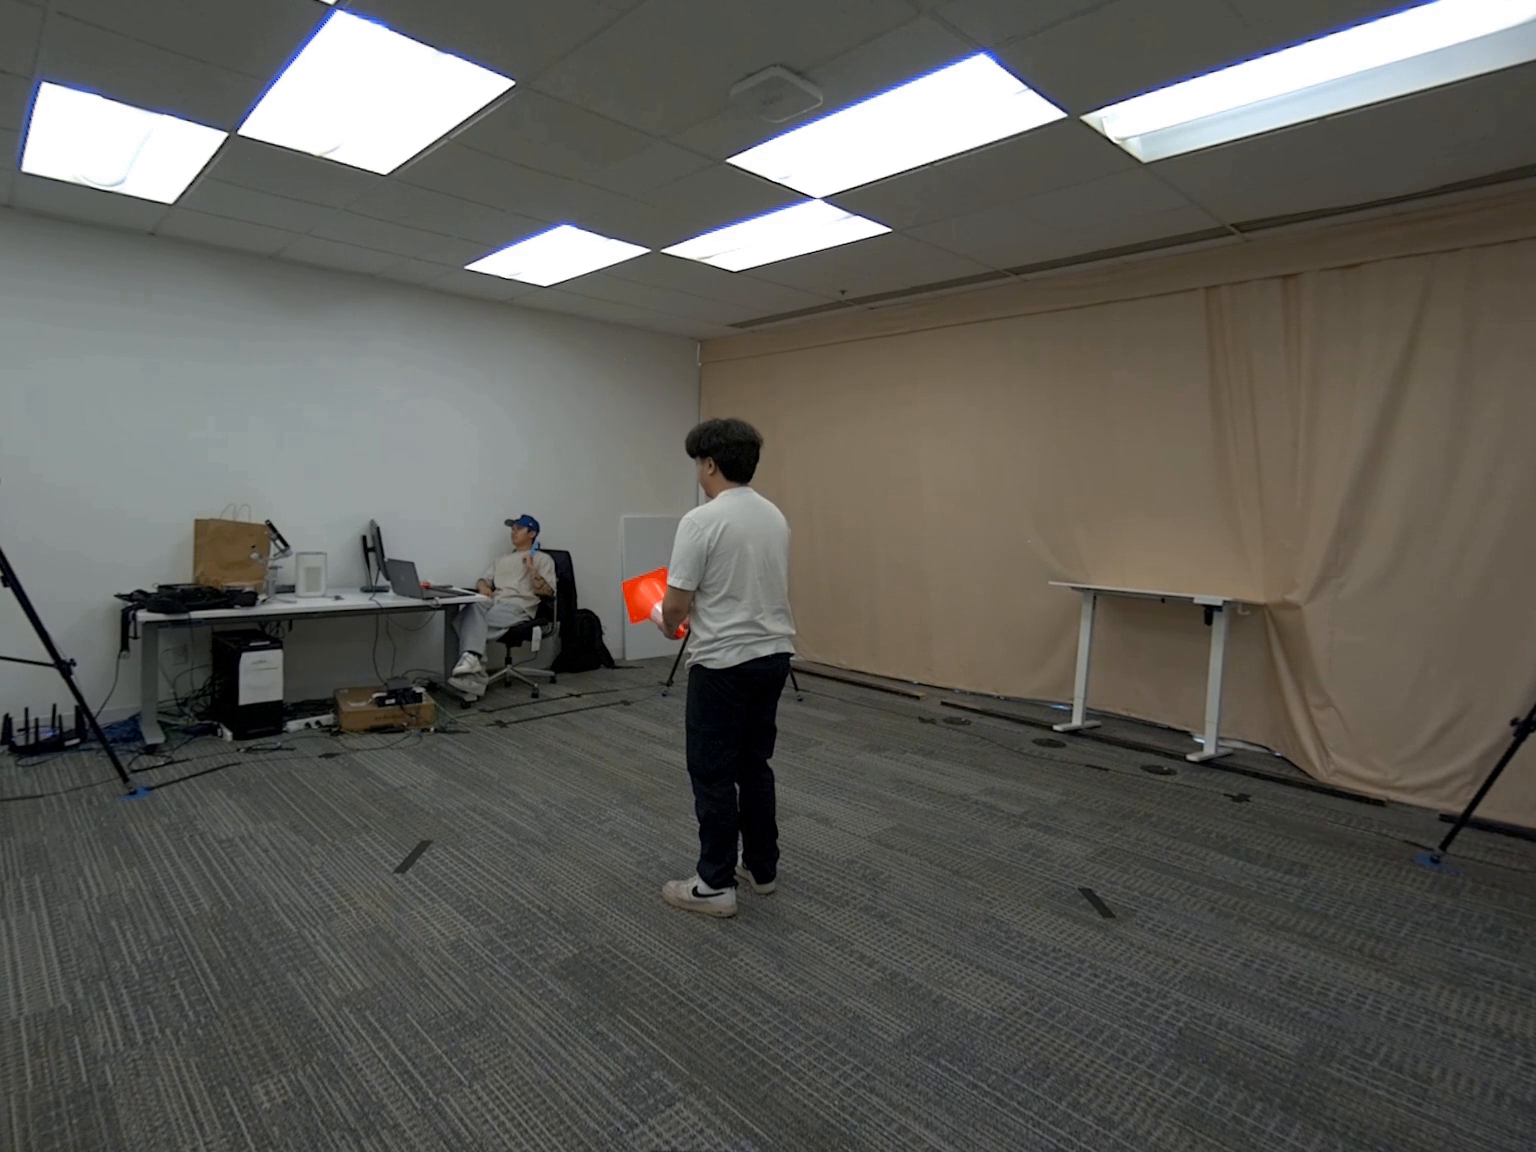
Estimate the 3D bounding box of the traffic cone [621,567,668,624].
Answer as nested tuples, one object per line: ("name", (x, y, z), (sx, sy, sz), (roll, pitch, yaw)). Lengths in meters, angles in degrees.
("traffic cone", (-0.410, 0.150, 3.217), (0.203, 0.199, 0.395), (-19, 27, -17))
